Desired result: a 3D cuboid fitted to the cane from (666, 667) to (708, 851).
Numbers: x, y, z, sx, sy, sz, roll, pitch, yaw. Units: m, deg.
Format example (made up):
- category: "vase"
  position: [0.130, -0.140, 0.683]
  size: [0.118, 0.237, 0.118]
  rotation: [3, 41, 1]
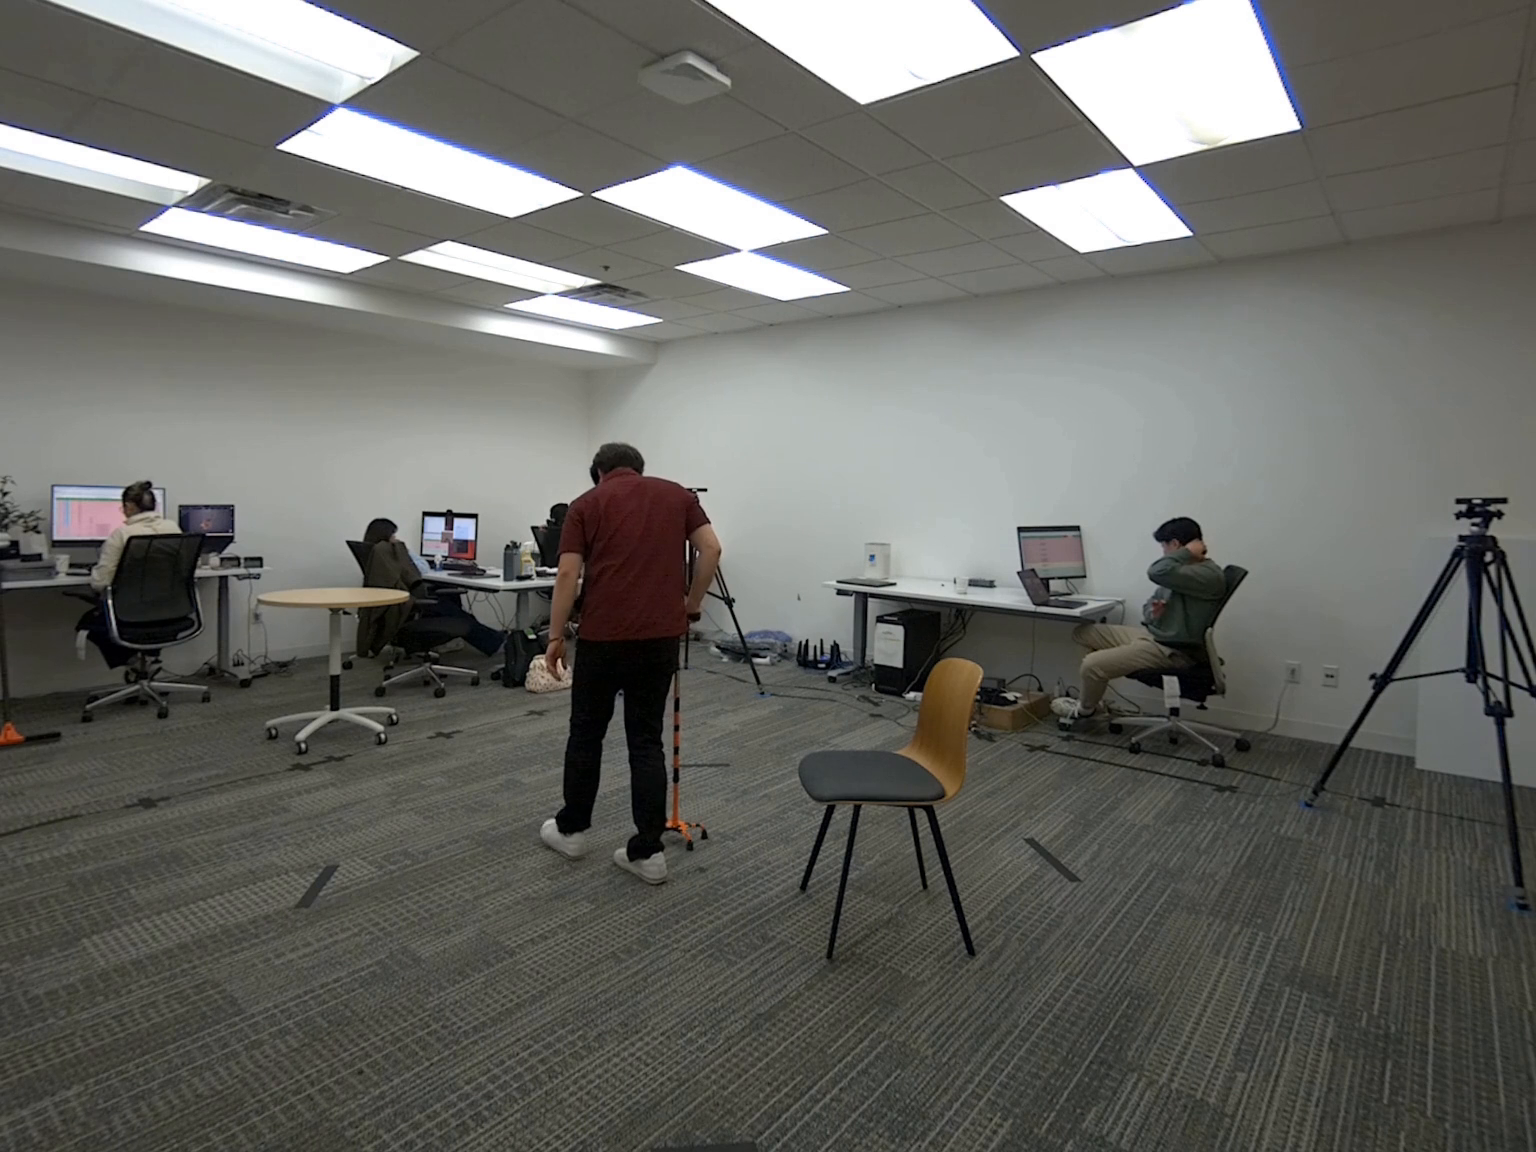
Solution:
- category: "cane"
  position: [-0.361, 0.592, 3.367]
  size: [0.212, 0.907, 0.148]
  rotation: [1, 1, 25]
